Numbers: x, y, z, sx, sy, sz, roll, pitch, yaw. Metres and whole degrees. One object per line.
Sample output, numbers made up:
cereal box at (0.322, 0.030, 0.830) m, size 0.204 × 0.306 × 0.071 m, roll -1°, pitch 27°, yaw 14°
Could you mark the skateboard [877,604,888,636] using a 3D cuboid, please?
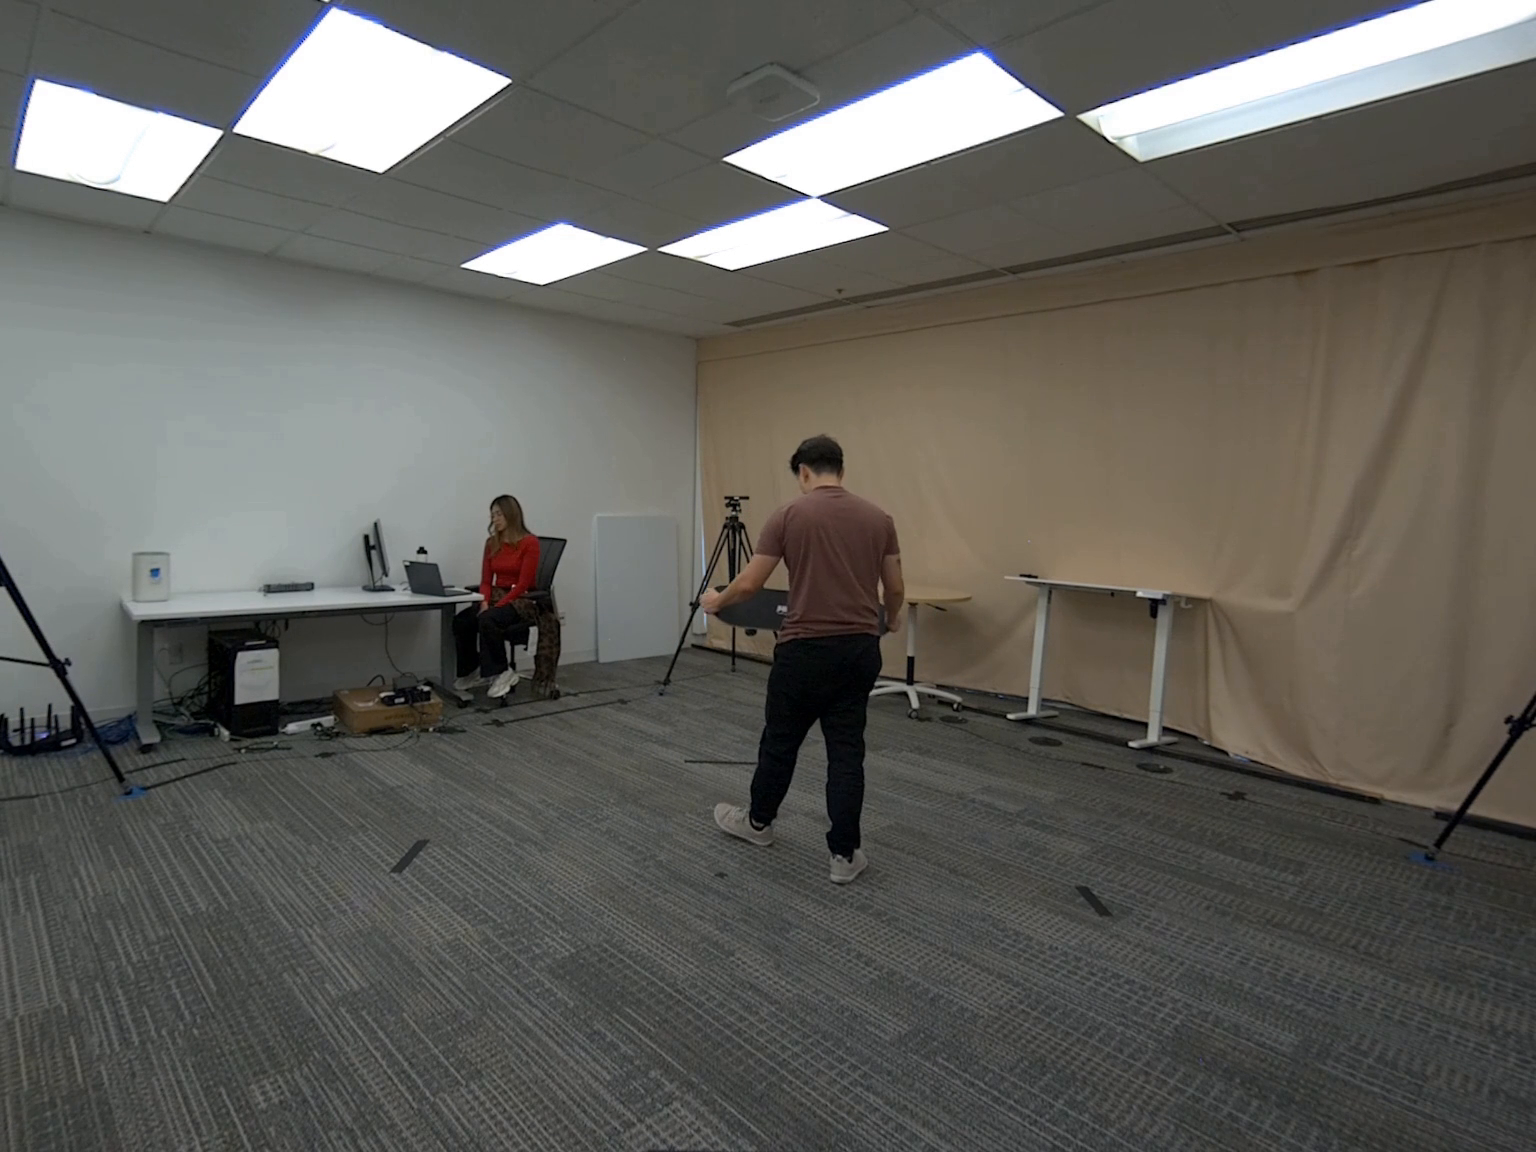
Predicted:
skateboard at (0.124, 0.174, 3.481) m, size 0.779 × 0.197 × 0.109 m, roll 6°, pitch -34°, yaw -10°
